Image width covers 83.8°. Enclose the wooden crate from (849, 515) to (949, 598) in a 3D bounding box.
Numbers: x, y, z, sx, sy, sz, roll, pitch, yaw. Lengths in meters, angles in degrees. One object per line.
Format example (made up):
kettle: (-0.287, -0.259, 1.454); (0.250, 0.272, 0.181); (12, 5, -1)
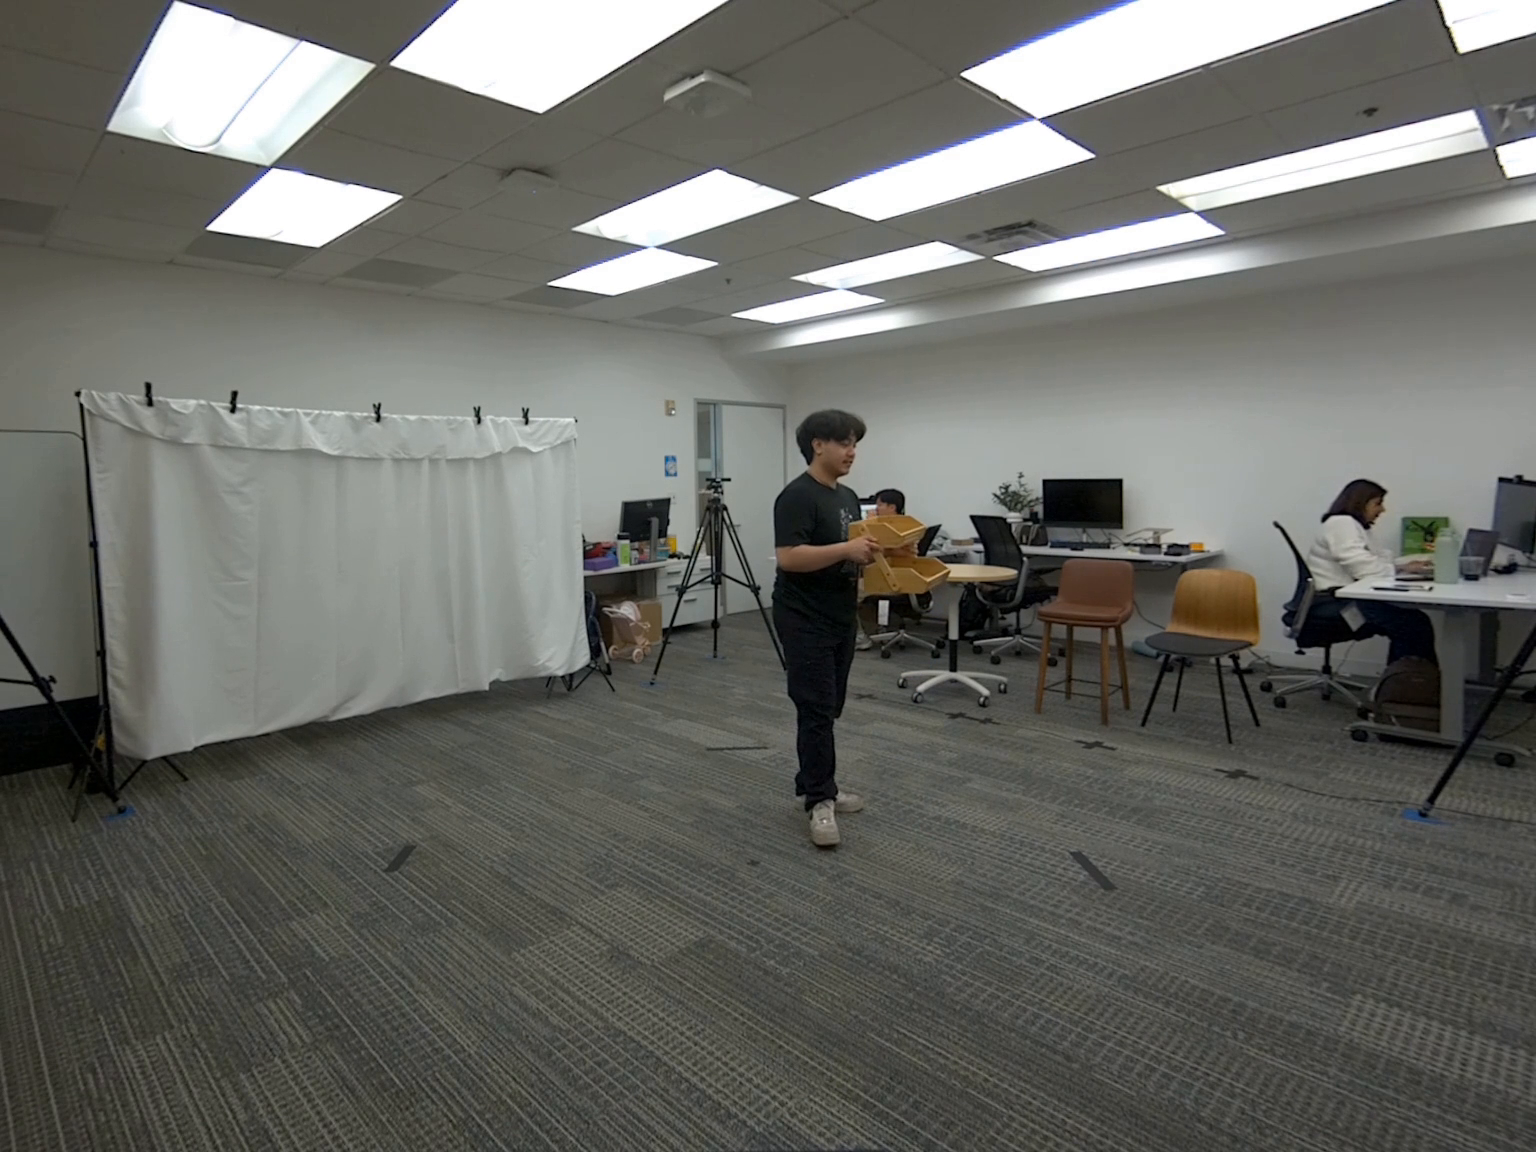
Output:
wooden crate: (0.520, -0.095, 3.310); (0.309, 0.272, 0.318); (0, 6, 28)
